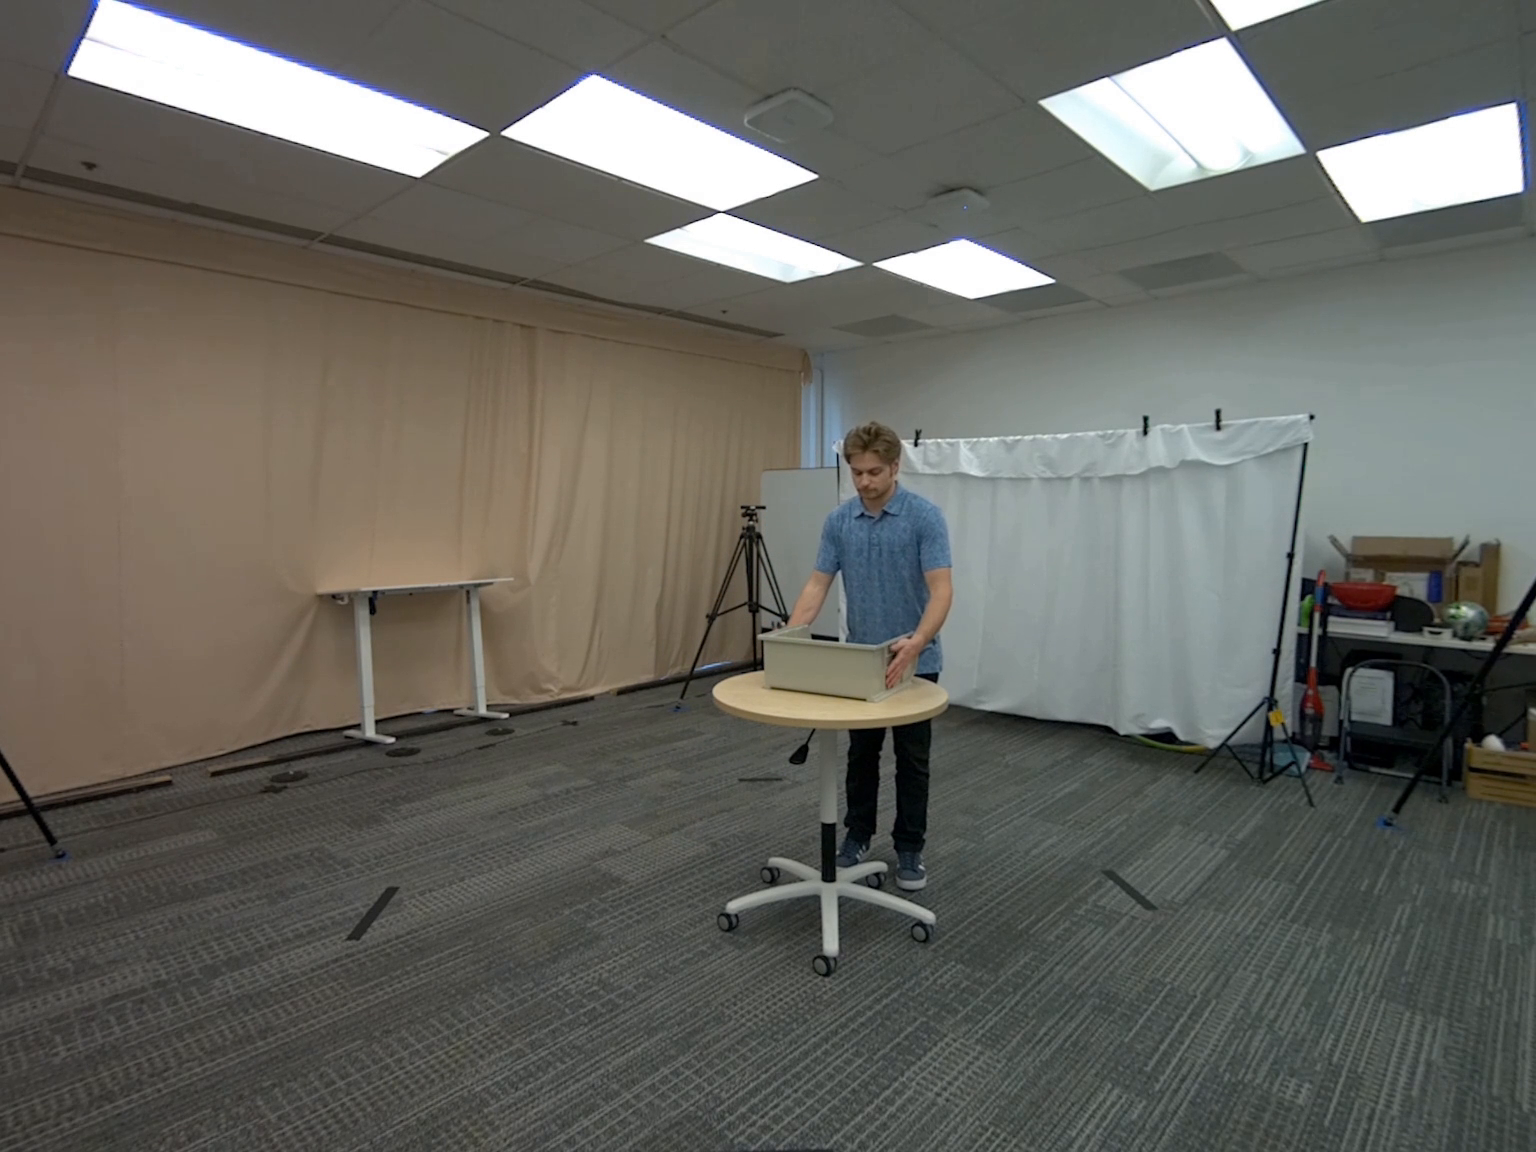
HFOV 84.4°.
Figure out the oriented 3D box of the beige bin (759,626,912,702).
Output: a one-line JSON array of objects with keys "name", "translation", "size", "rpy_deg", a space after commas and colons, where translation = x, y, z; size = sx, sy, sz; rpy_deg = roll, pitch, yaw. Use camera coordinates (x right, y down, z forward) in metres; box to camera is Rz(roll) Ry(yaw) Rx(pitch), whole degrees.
[{"name": "beige bin", "translation": [0.246, 0.281, 2.842], "size": [0.435, 0.188, 0.367], "rpy_deg": [3, 7, 31]}]
